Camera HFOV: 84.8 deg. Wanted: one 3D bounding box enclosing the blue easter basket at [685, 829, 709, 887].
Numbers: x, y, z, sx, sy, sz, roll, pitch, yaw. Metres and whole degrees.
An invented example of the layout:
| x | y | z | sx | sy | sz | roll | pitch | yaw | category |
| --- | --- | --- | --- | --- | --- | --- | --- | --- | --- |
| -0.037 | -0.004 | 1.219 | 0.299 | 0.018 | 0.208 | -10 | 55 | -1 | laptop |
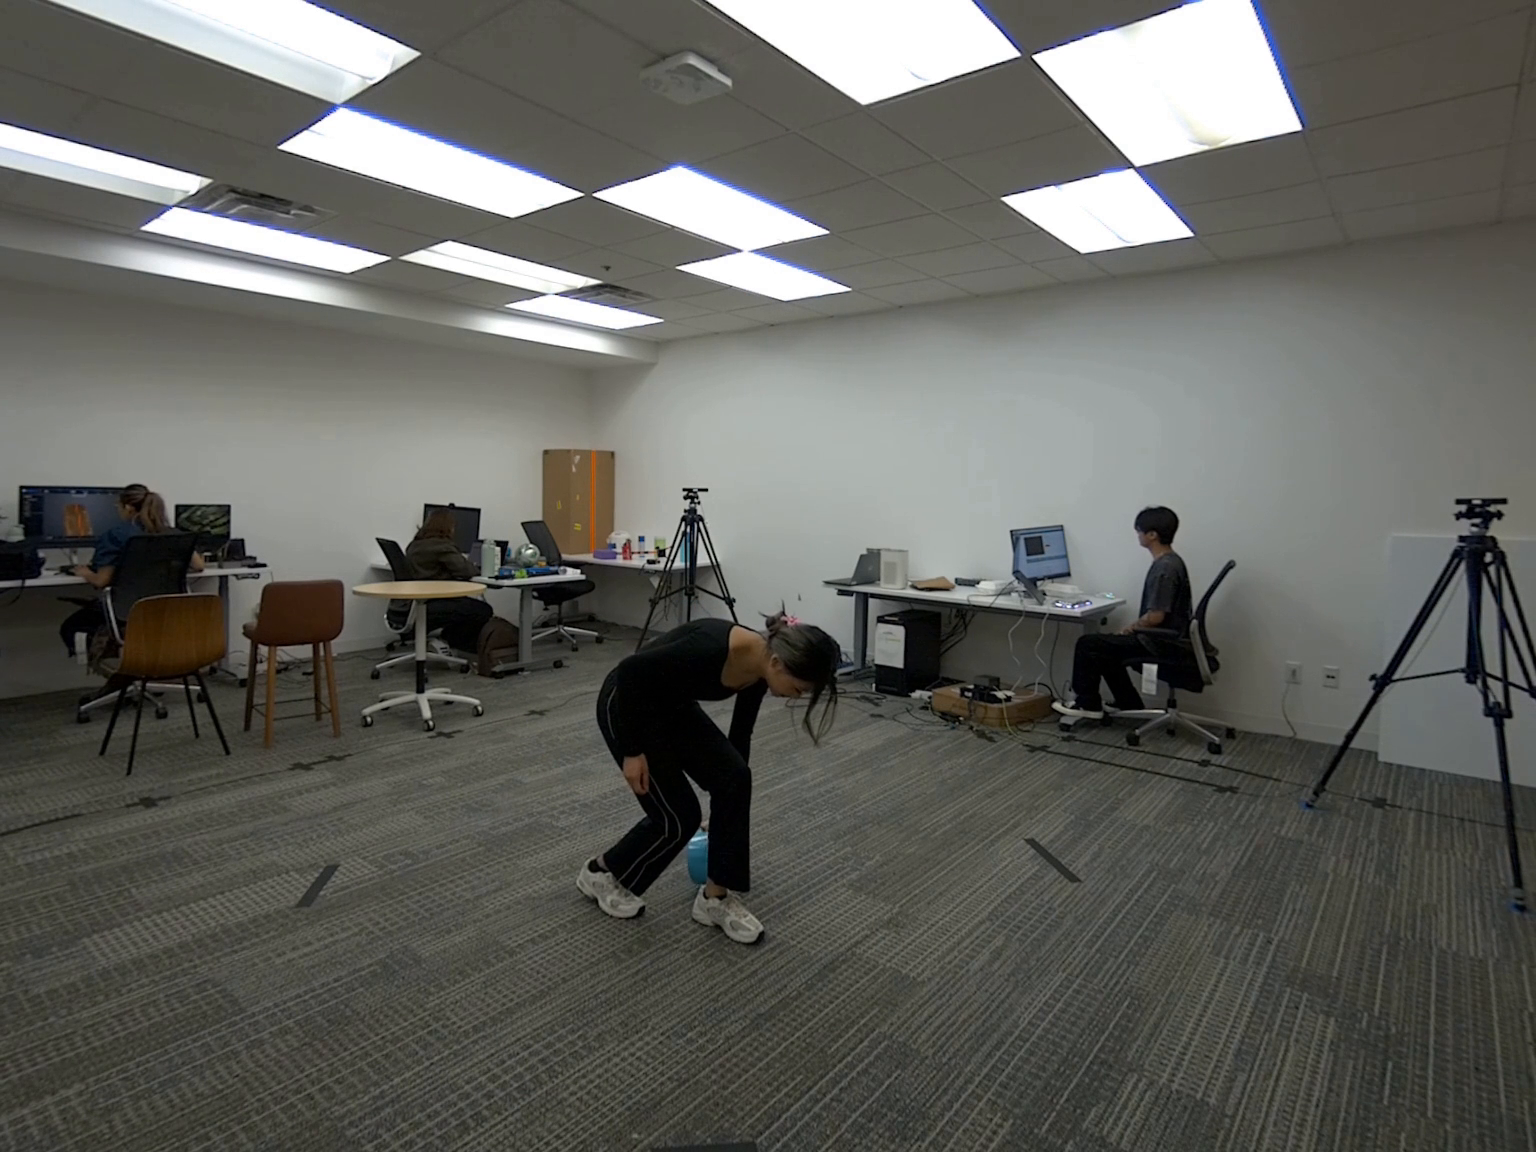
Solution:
| x | y | z | sx | sy | sz | roll | pitch | yaw | category |
| --- | --- | --- | --- | --- | --- | --- | --- | --- | --- |
| -0.172 | 0.973 | 2.974 | 0.159 | 0.244 | 0.239 | -8 | 0 | 22 | blue easter basket |
